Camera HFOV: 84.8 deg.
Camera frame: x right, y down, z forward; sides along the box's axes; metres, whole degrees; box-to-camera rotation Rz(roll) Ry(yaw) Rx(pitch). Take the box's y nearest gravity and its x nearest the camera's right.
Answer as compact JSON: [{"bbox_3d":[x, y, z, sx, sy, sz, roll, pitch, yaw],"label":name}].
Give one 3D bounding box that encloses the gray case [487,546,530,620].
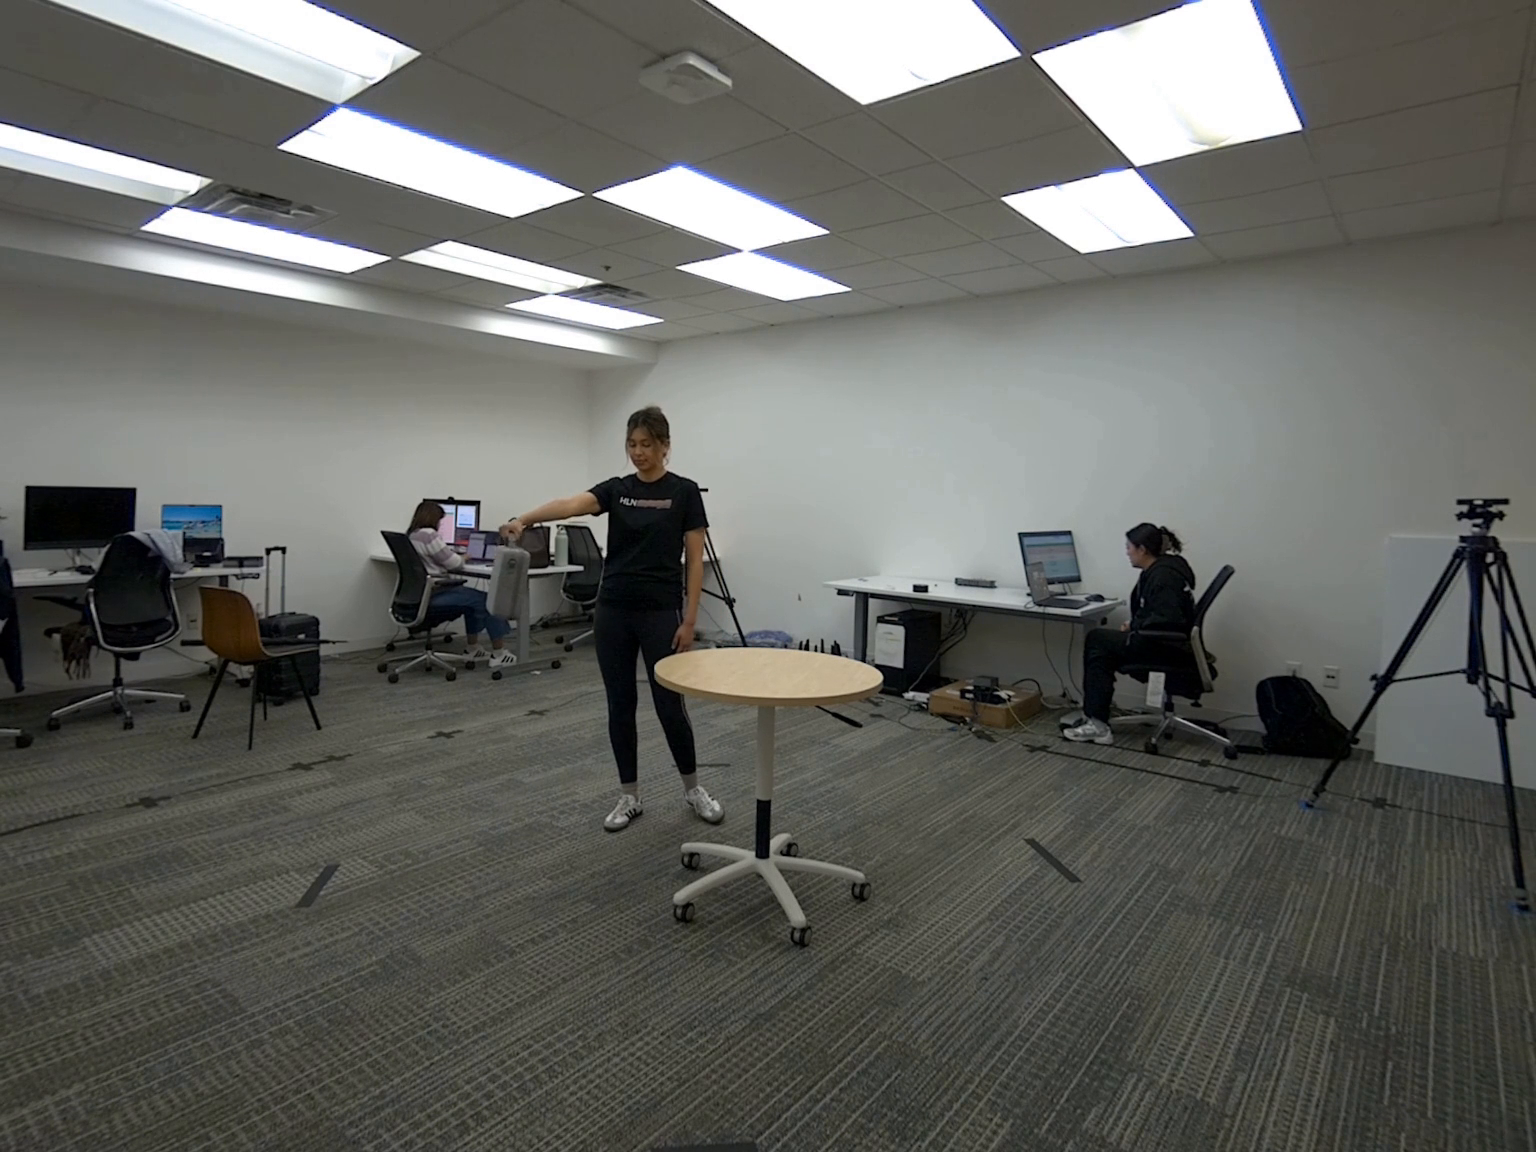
[{"bbox_3d":[-0.953,0.017,3.098,0.102,0.261,0.263,9,0,-24],"label":"gray case"}]
